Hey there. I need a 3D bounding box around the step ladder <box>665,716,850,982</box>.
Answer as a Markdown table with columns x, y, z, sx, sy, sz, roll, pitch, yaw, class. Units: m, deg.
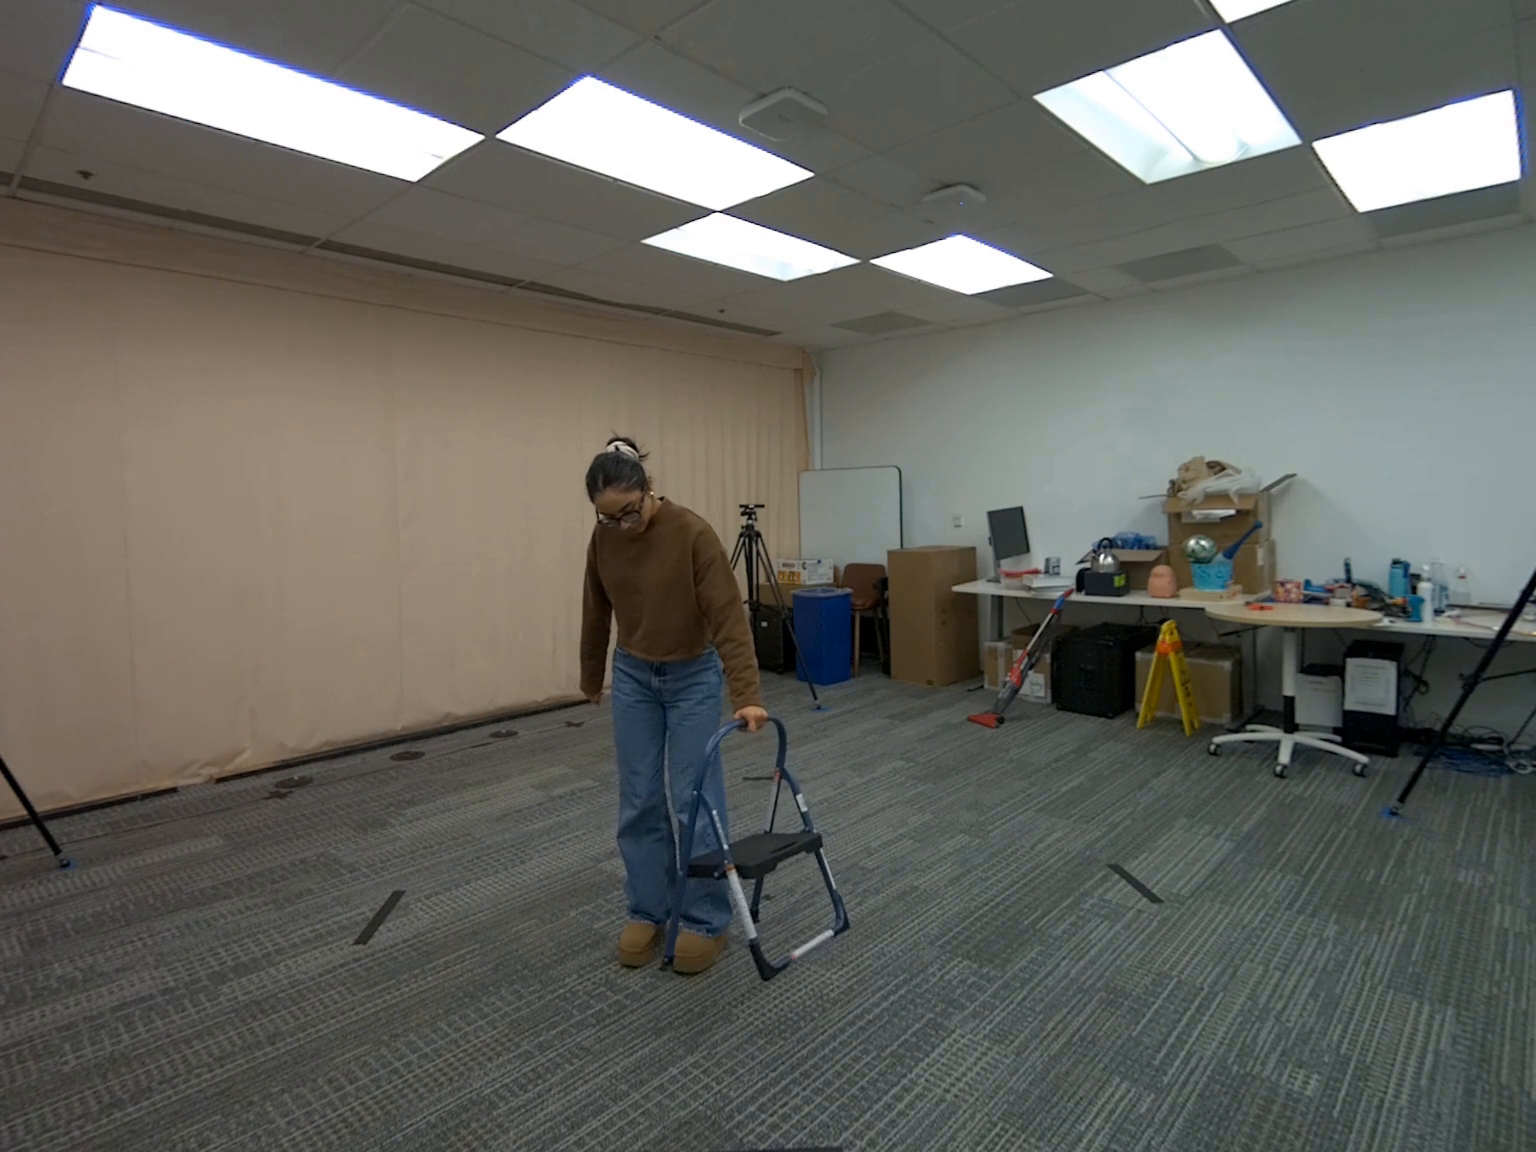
| x | y | z | sx | sy | sz | roll | pitch | yaw | class |
| --- | --- | --- | --- | --- | --- | --- | --- | --- | --- |
| -0.059 | 0.700 | 2.296 | 0.358 | 0.610 | 0.417 | -14 | -9 | 33 | step ladder |
